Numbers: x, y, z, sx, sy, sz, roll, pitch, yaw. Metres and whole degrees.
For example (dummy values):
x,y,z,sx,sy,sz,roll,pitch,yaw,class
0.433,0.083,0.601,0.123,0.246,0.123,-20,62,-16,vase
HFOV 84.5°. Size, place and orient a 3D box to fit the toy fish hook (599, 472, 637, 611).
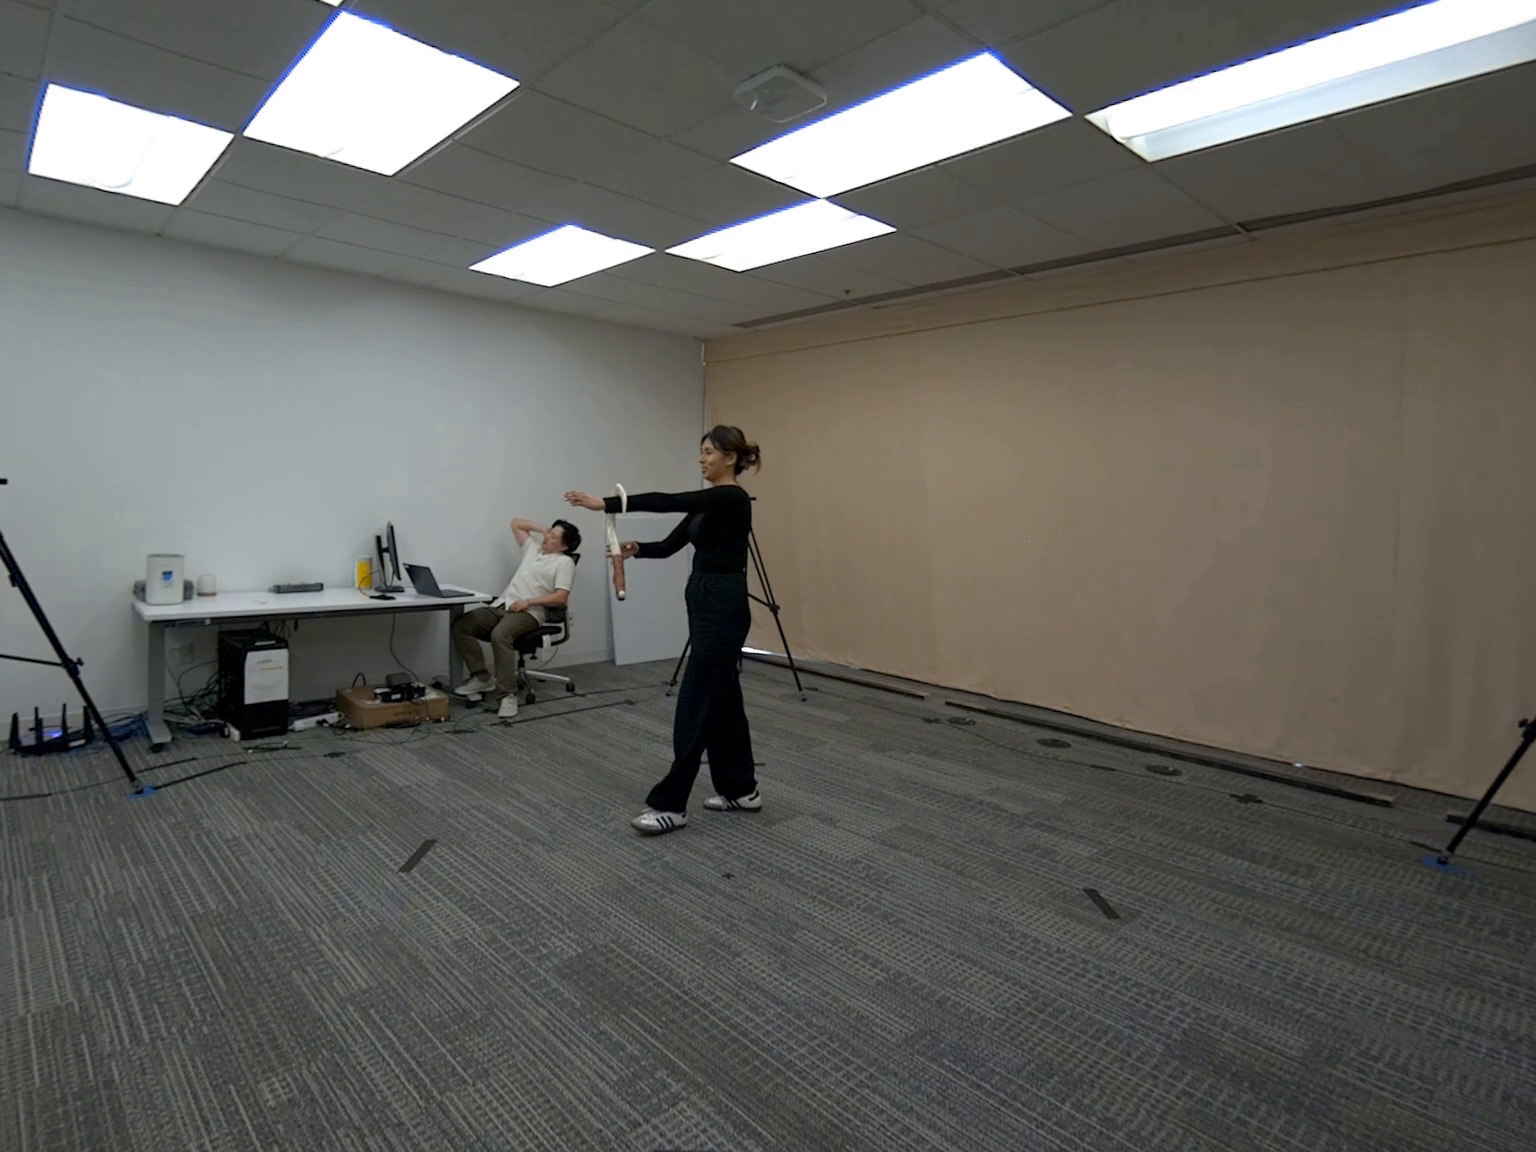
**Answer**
x,y,z,sx,sy,sz,roll,pitch,yaw,class
-0.589,-0.141,3.282,0.047,0.520,0.222,3,-39,-23,toy fish hook
